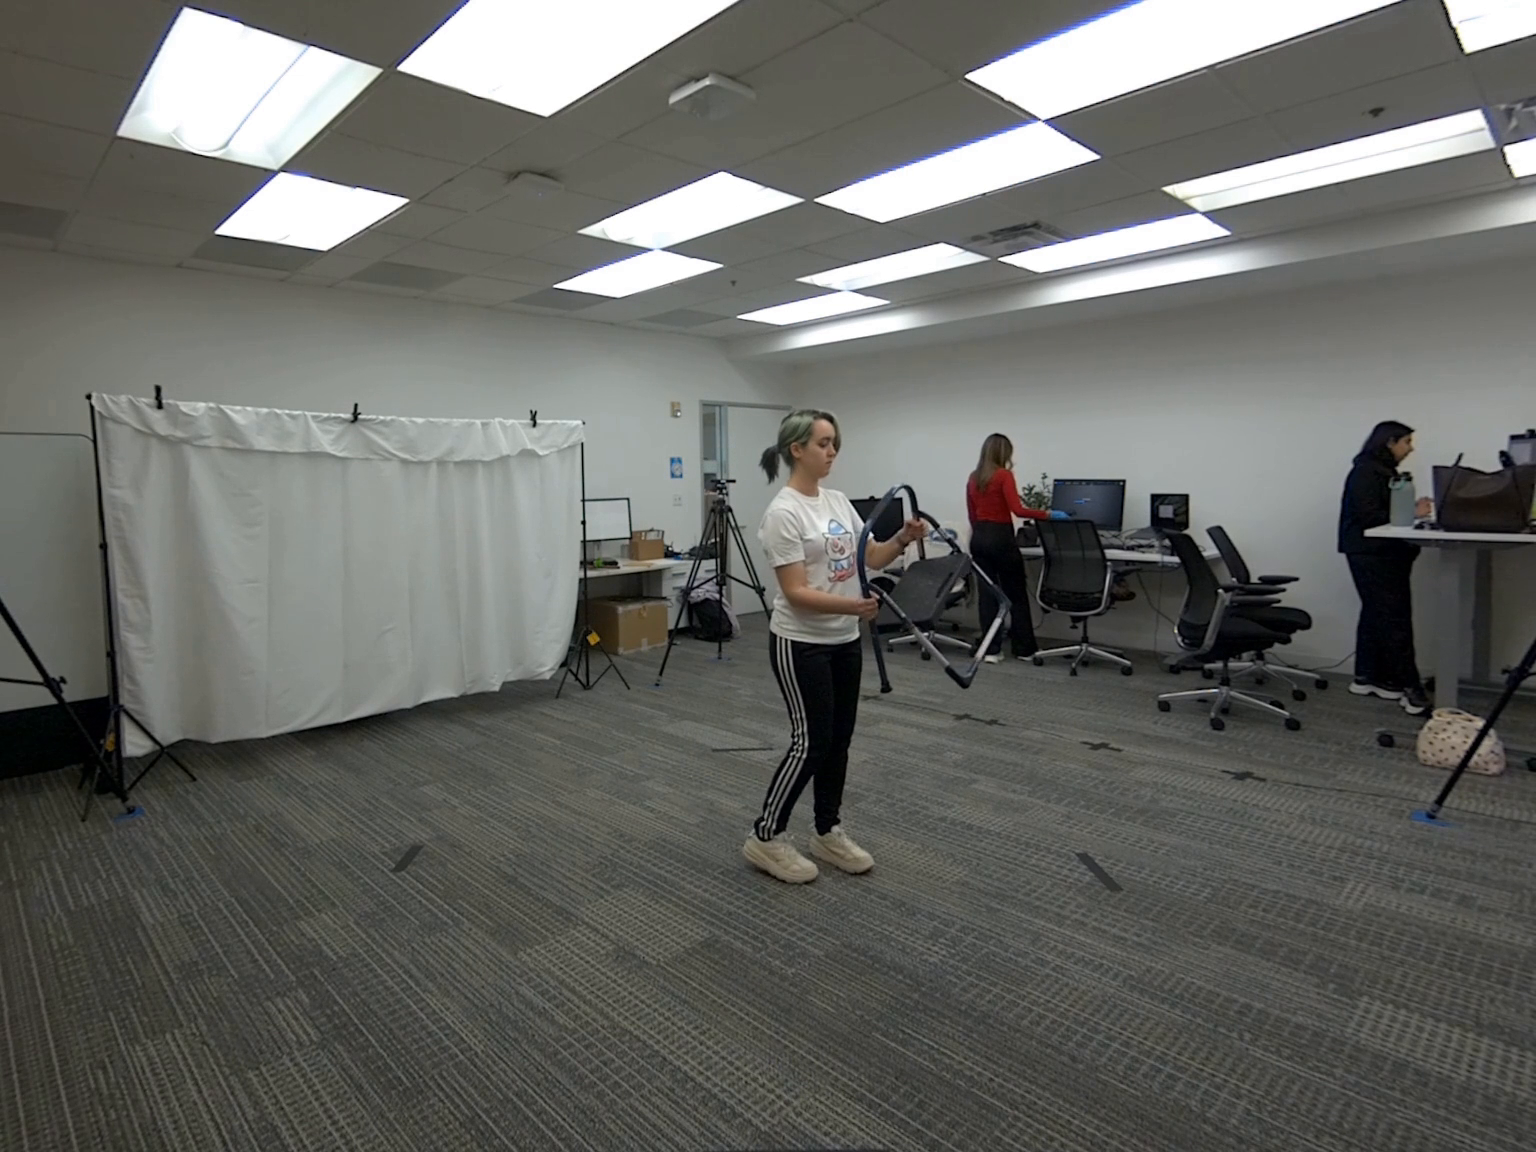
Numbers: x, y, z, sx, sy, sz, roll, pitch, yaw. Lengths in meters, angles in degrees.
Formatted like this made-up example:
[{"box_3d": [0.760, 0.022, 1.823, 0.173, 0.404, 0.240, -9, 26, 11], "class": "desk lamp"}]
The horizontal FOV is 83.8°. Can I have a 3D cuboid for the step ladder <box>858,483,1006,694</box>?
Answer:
[{"box_3d": [0.458, 0.014, 2.816, 0.357, 0.592, 0.431, -12, 28, 46], "class": "step ladder"}]
